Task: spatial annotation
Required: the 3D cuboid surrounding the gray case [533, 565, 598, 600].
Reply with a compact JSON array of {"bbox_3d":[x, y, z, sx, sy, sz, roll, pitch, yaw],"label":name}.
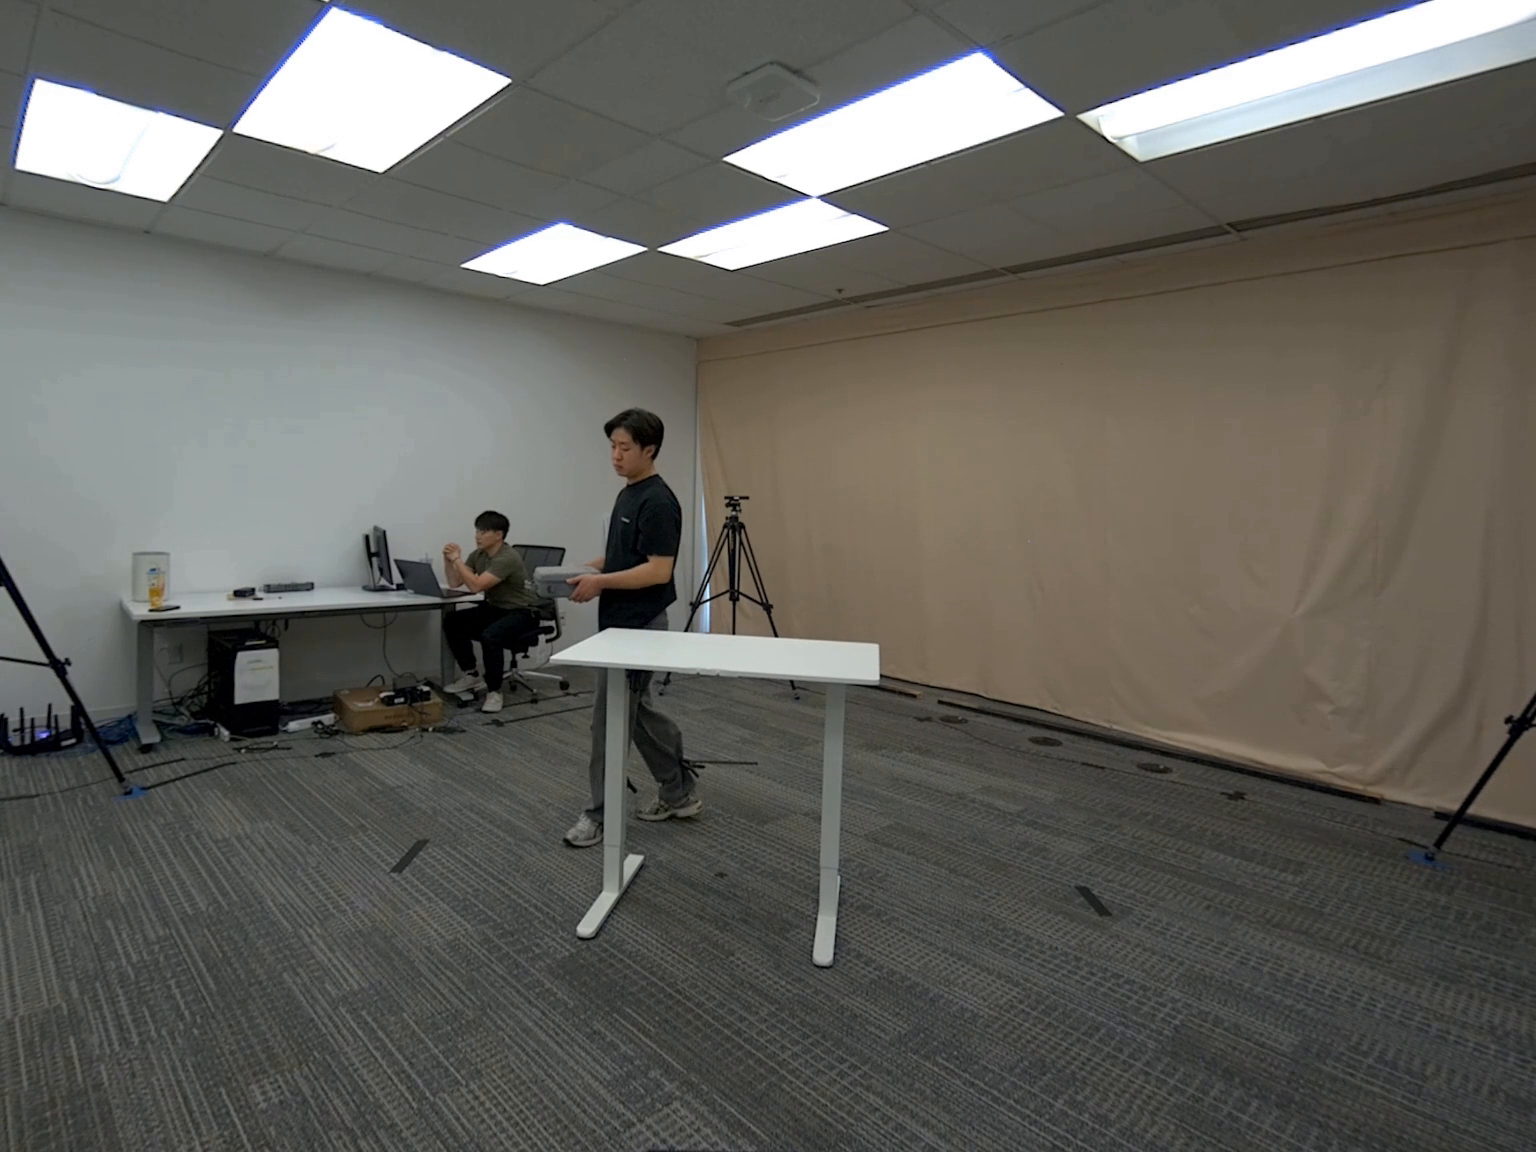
[{"bbox_3d":[-0.845,0.020,3.422,0.283,0.102,0.268,-2,7,-20],"label":"gray case"}]
